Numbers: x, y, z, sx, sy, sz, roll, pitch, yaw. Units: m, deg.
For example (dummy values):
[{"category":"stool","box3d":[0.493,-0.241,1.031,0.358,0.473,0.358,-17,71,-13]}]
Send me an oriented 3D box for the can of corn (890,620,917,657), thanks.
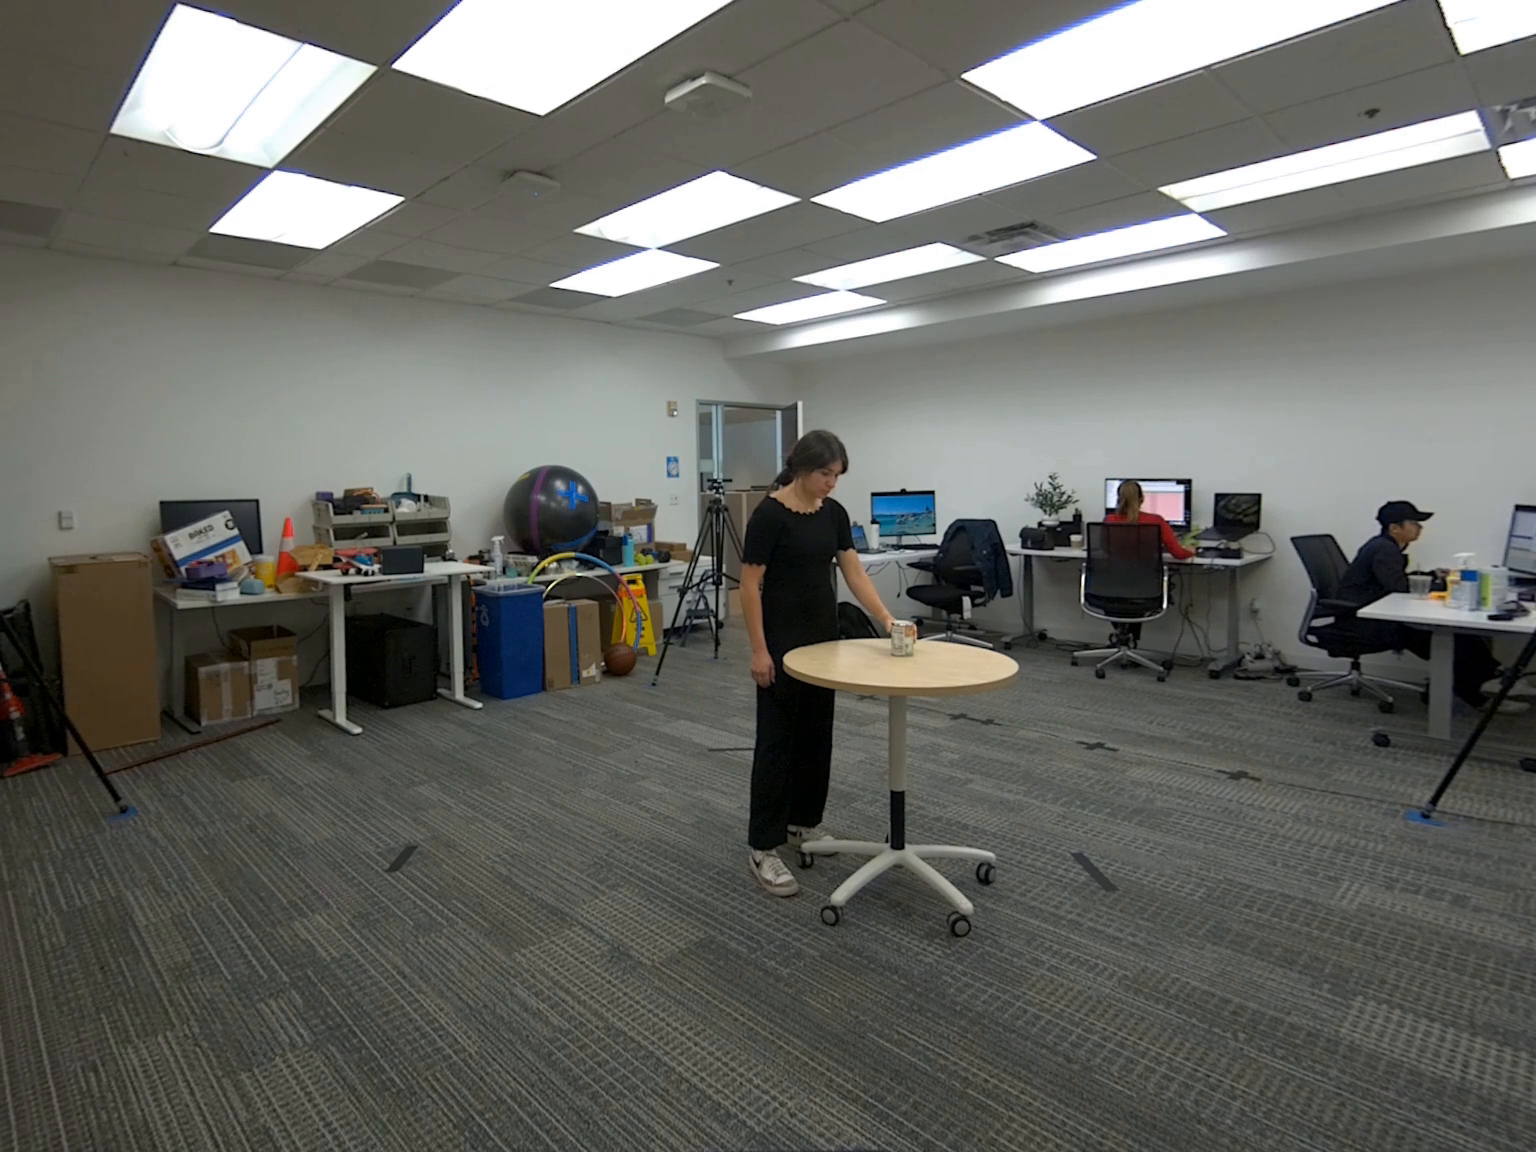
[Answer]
[{"category":"can of corn","box3d":[0.475,0.221,2.937,0.074,0.111,0.074,1,4,-2]}]
